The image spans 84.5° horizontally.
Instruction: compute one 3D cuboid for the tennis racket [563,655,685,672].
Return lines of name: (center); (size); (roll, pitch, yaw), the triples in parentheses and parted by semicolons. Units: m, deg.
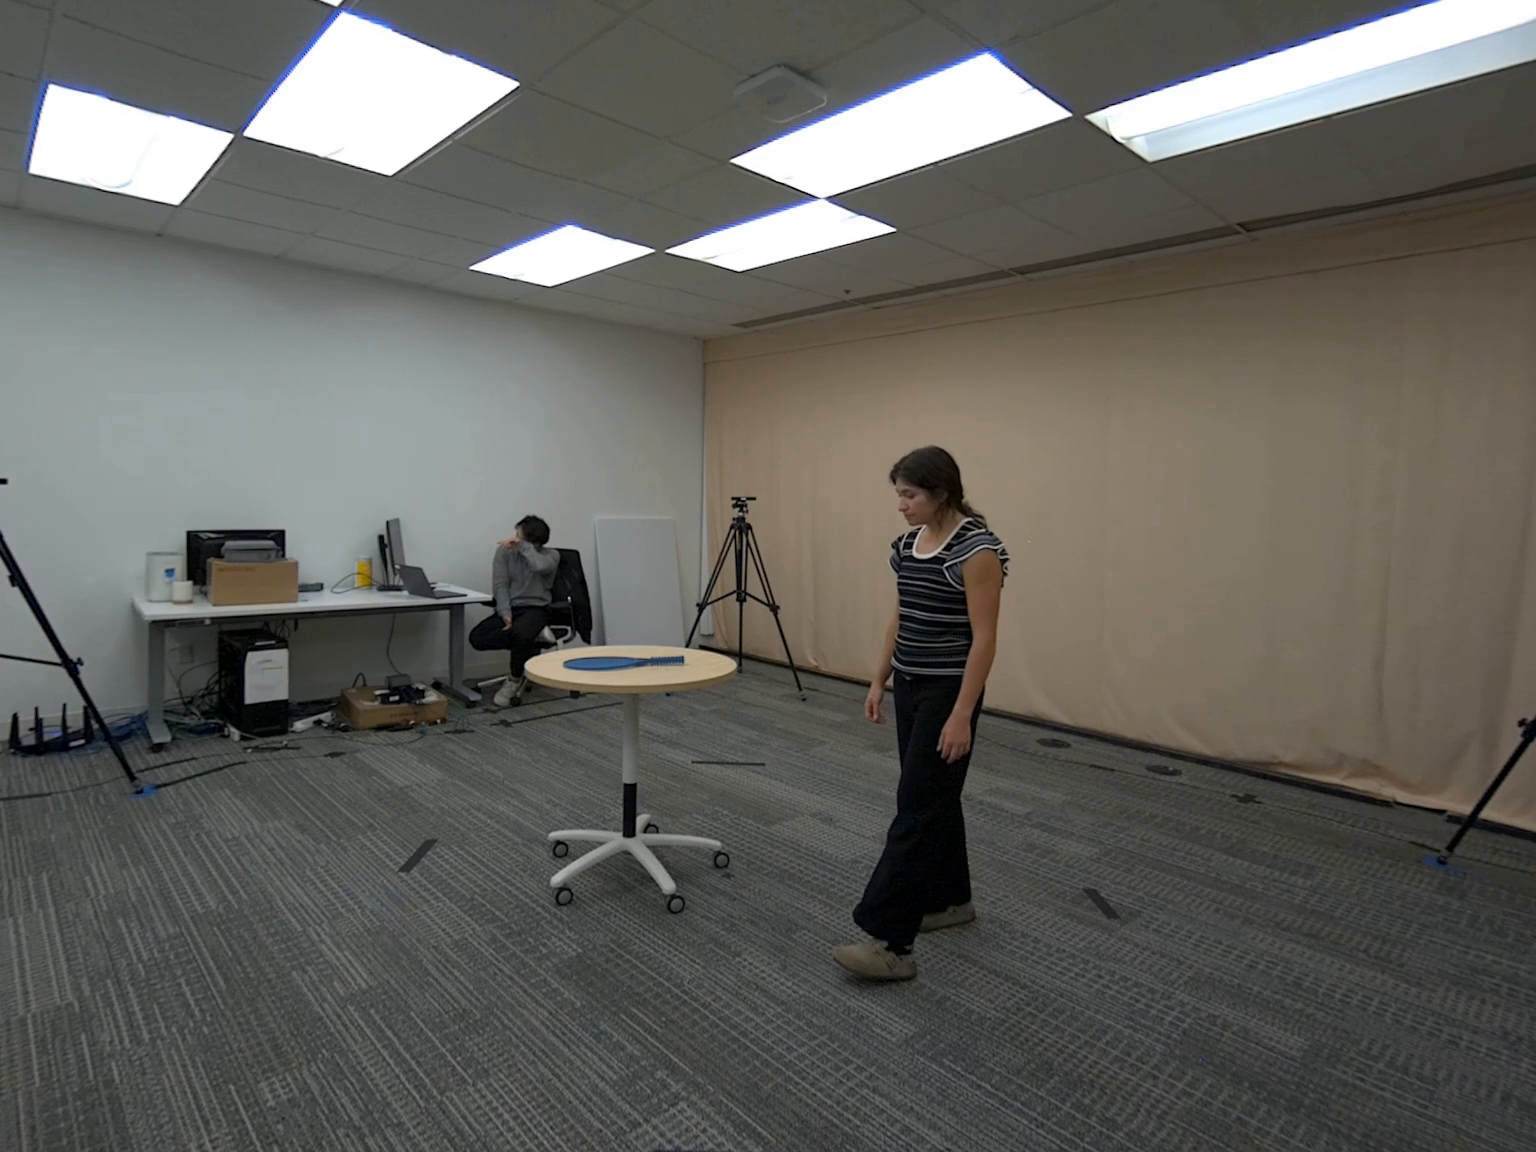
tennis racket: (-0.523, 0.313, 3.022); (0.430, 0.032, 0.216); (-1, 5, -8)
